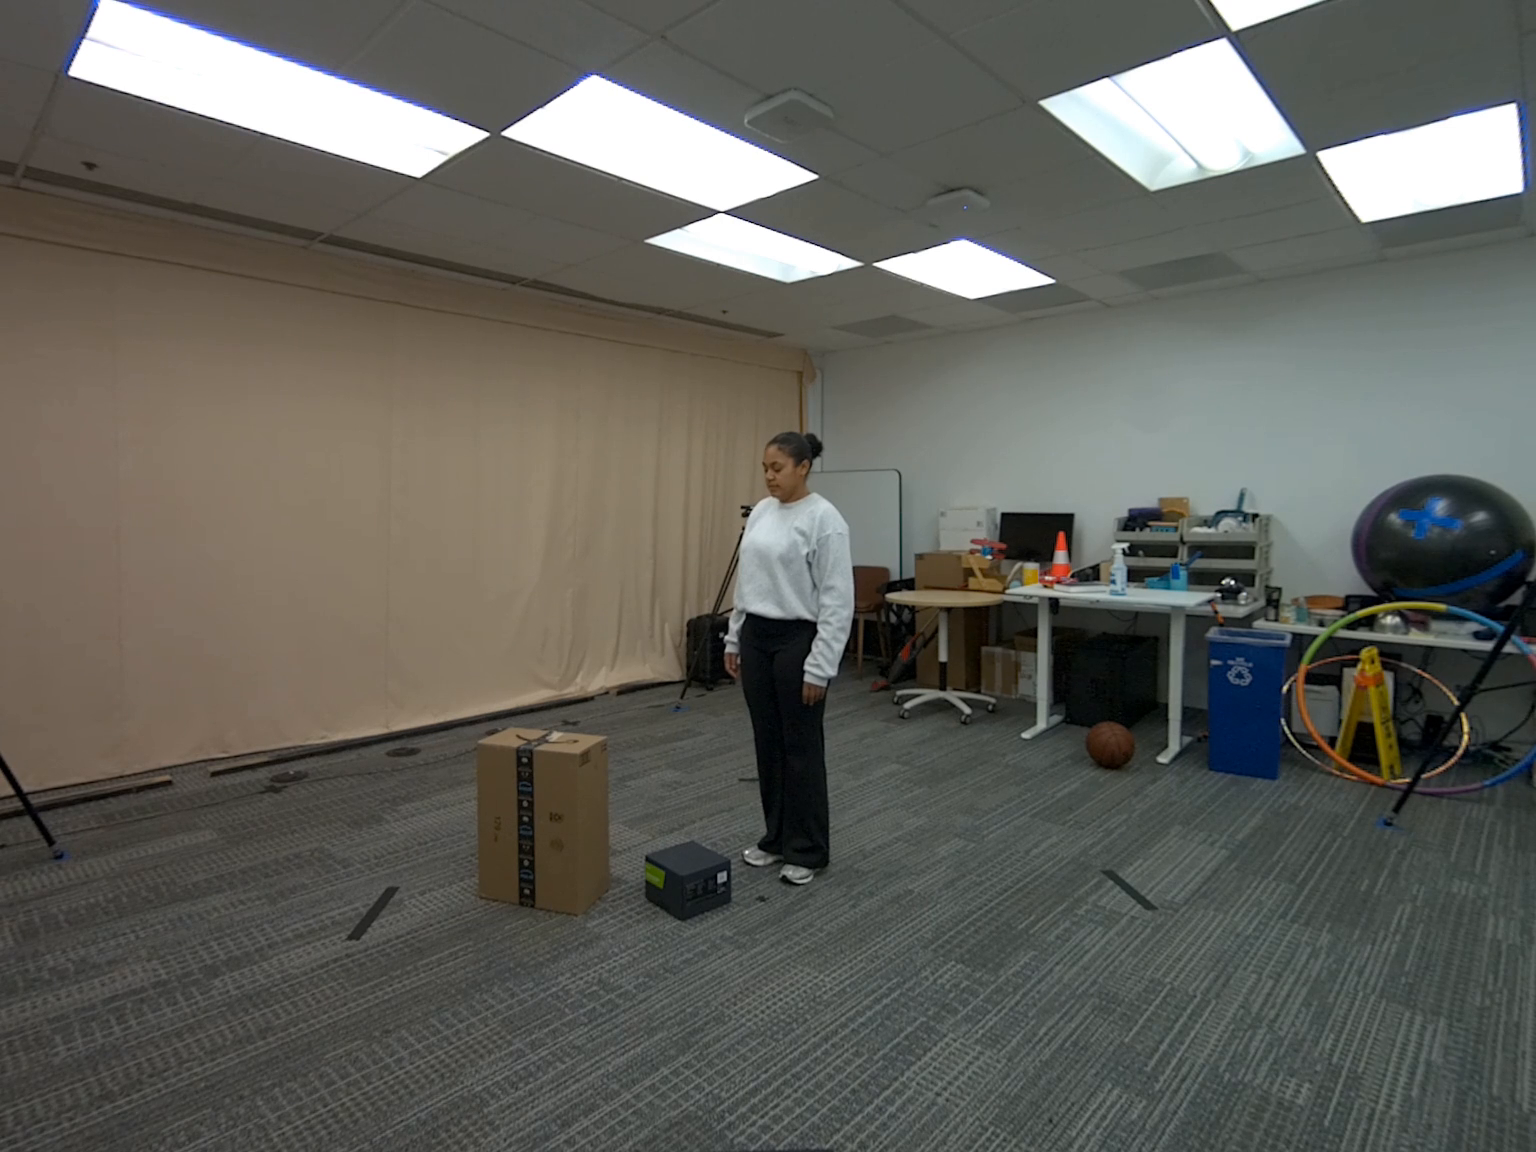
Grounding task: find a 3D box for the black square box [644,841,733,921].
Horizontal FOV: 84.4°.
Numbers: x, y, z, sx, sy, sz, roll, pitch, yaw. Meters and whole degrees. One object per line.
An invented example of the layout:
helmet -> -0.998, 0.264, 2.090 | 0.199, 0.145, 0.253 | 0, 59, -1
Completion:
black square box -> -0.283, 1.067, 2.961 | 0.210, 0.155, 0.235 | -4, 6, -41
